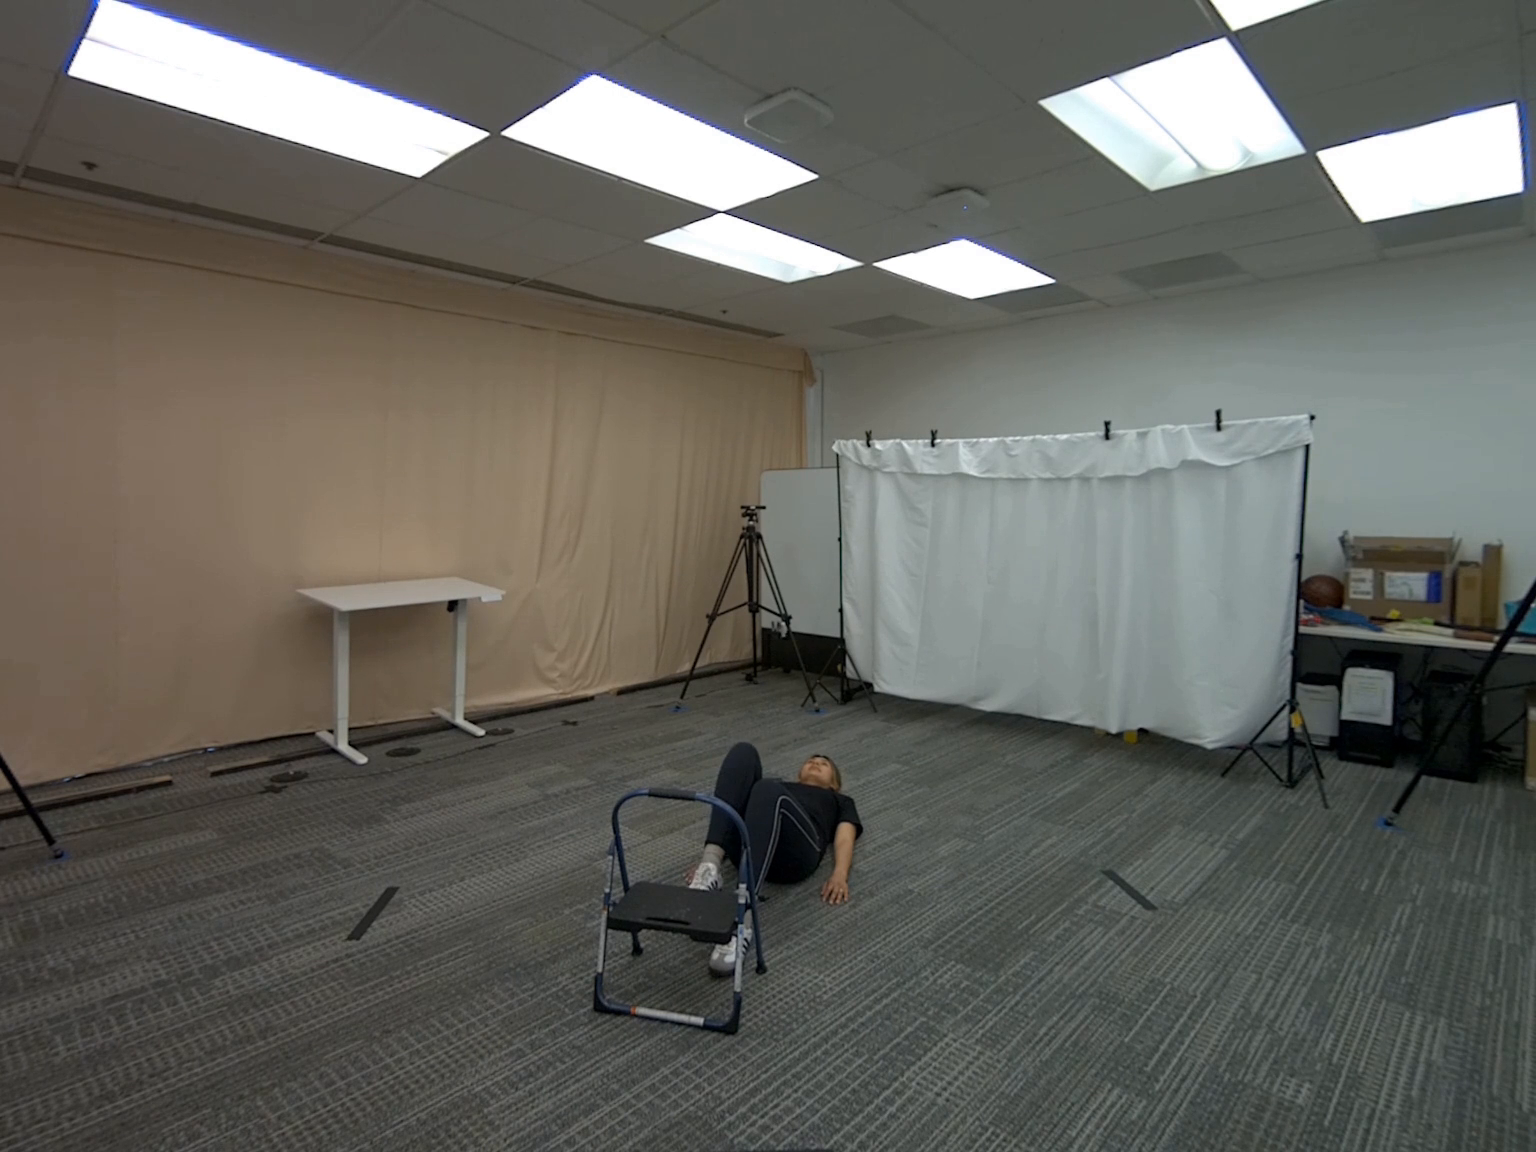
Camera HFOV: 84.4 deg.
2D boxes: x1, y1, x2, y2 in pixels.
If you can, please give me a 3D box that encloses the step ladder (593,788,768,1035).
[{"bbox_3d":[-0.250,0.889,2.413,0.437,0.605,0.344,1,3,14],"label":"step ladder"}]
